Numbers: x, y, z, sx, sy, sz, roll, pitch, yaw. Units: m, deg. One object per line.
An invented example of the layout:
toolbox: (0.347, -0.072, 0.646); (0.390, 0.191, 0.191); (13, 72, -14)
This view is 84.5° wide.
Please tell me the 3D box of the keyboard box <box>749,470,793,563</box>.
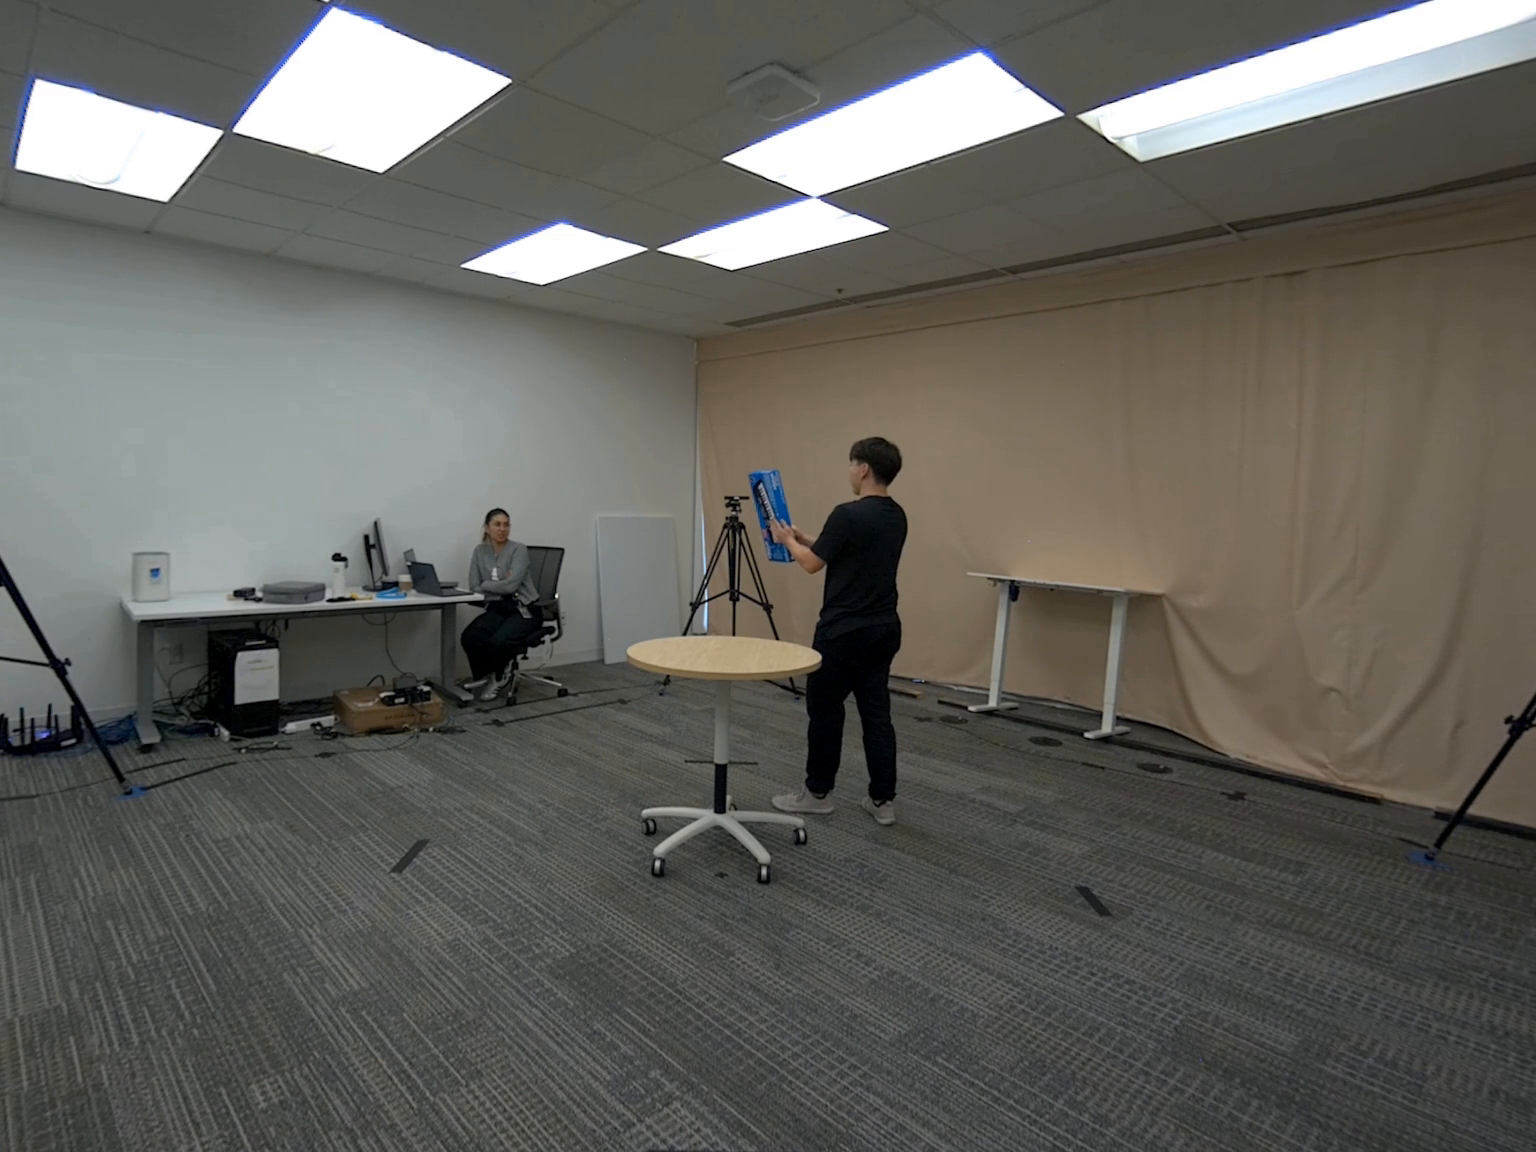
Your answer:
keyboard box: (0.023, -0.283, 3.984); (0.058, 0.432, 0.180); (-21, 14, -31)
